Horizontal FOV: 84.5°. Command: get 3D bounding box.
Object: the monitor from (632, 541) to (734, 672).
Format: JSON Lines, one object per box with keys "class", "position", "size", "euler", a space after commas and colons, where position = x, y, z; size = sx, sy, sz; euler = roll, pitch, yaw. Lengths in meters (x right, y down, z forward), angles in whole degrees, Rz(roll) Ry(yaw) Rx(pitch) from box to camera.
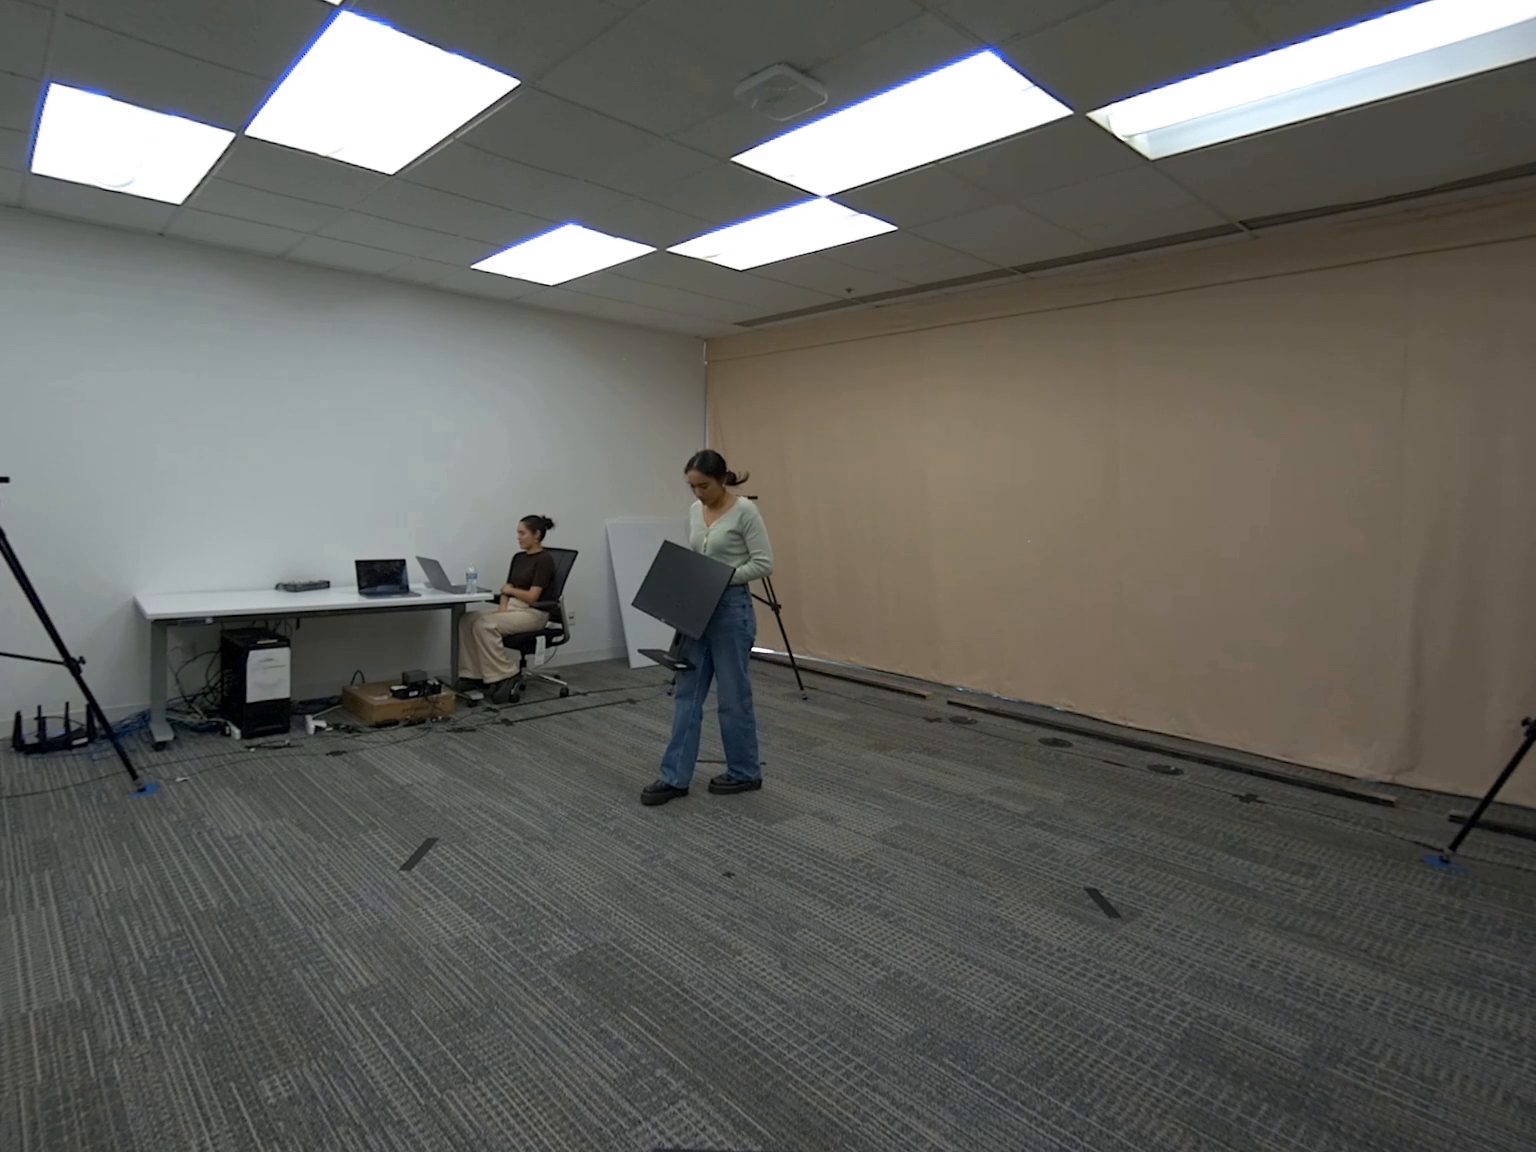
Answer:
{"class": "monitor", "position": [-0.407, 0.137, 3.826], "size": [0.170, 0.514, 0.546], "euler": [6, 11, -43]}
